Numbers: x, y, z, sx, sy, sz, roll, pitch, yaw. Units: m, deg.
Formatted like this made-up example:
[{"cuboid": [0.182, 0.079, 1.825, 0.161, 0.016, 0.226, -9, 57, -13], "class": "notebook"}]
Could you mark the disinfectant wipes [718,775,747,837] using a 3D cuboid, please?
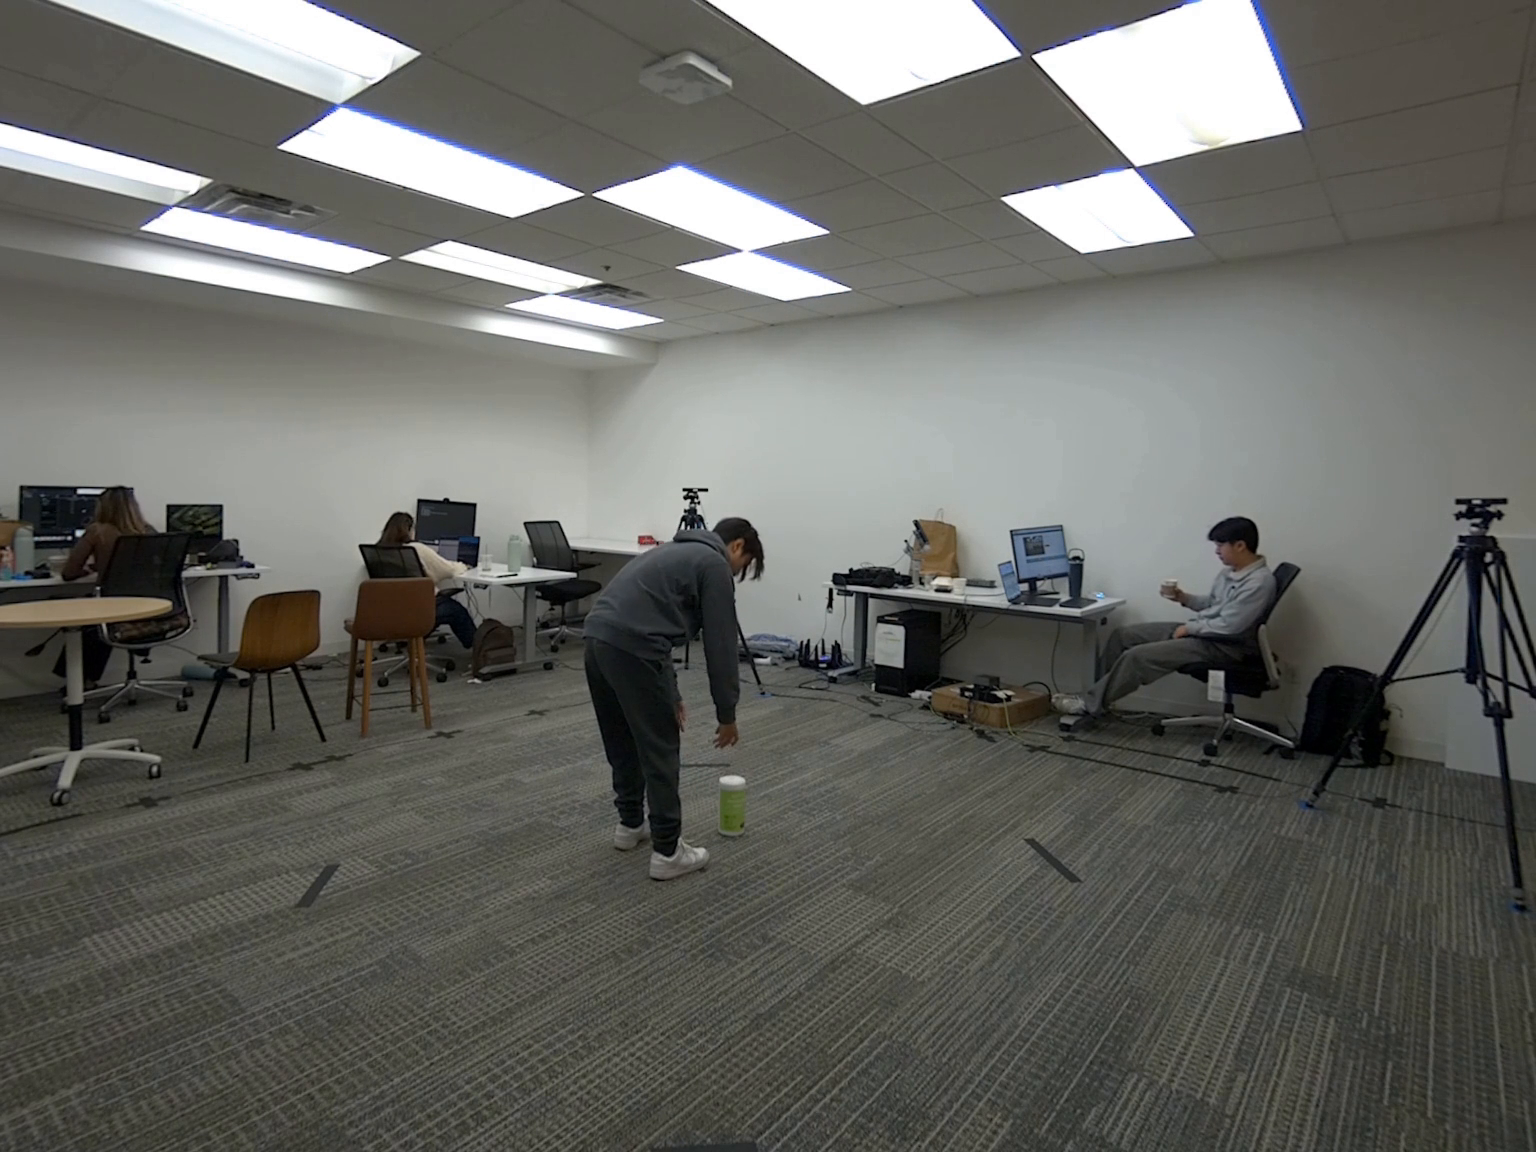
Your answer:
[{"cuboid": [-0.170, 0.929, 3.454, 0.117, 0.217, 0.118, 2, 4, -2], "class": "disinfectant wipes"}]
